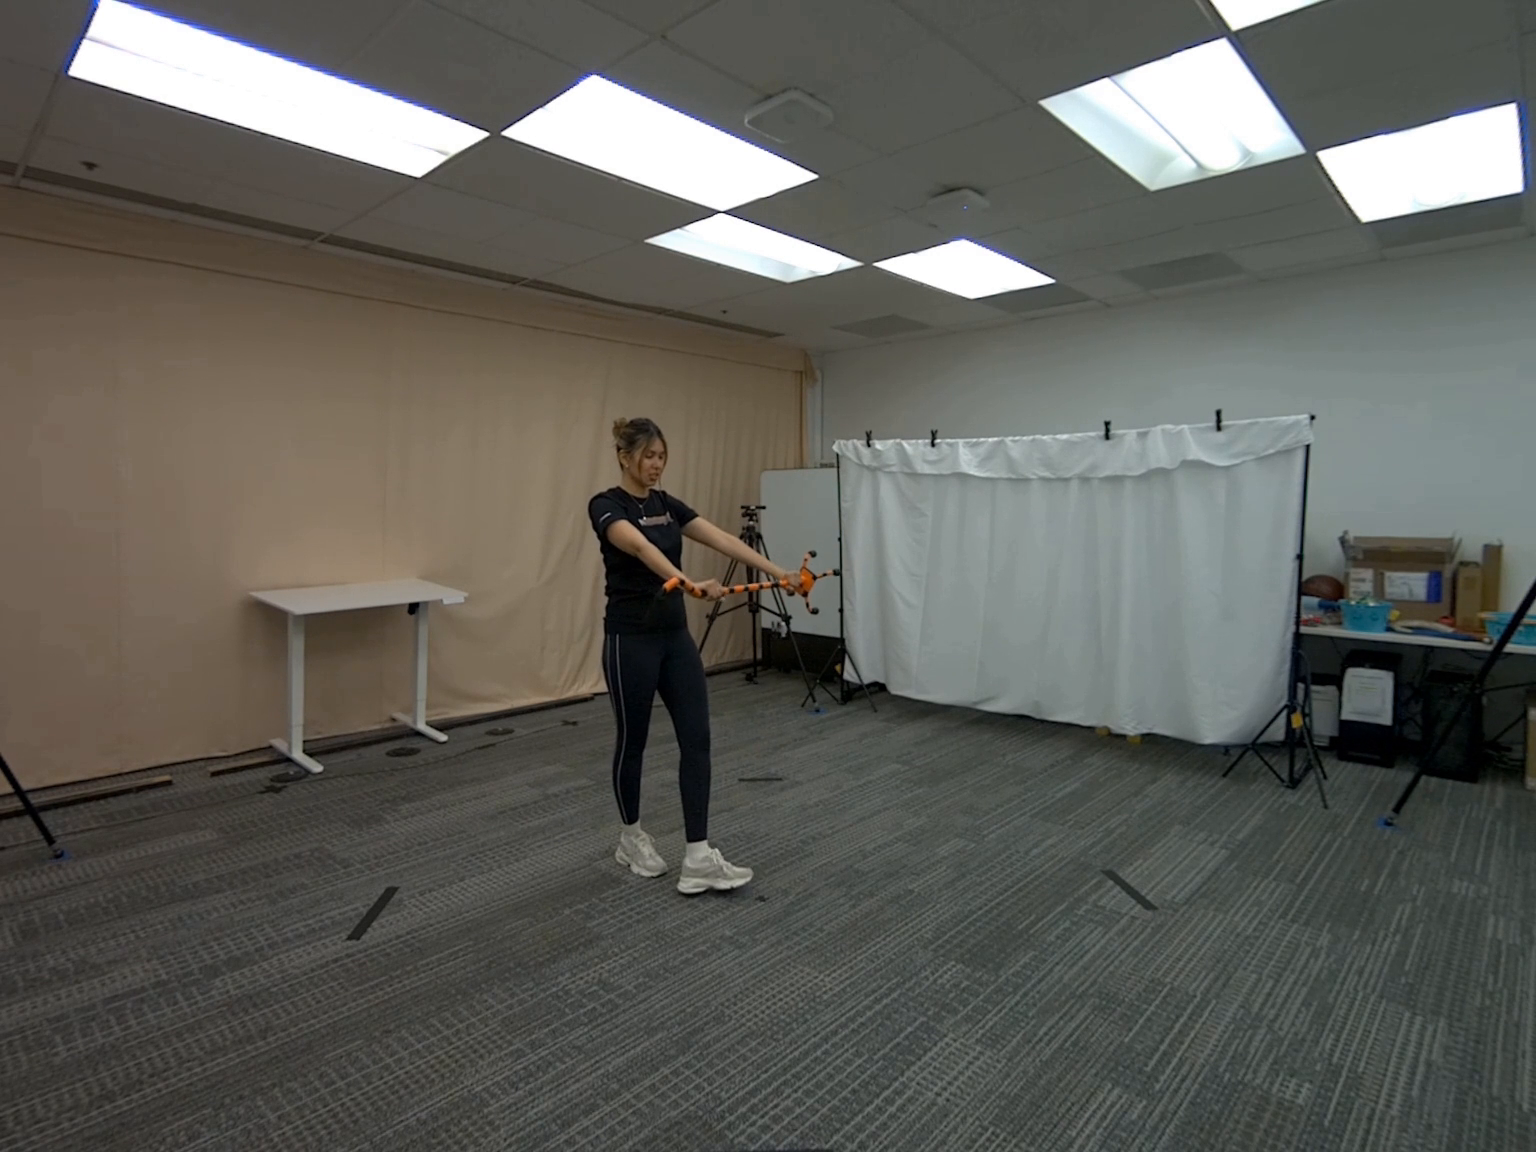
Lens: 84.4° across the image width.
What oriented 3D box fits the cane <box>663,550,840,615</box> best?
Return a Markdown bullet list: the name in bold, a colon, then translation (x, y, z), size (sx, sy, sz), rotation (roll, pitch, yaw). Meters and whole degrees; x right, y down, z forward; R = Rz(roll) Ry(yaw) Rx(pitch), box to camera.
- **cane**: translation (-0.063, 0.047, 2.819), size (0.156, 0.206, 0.882), rotation (39, 24, 26)
